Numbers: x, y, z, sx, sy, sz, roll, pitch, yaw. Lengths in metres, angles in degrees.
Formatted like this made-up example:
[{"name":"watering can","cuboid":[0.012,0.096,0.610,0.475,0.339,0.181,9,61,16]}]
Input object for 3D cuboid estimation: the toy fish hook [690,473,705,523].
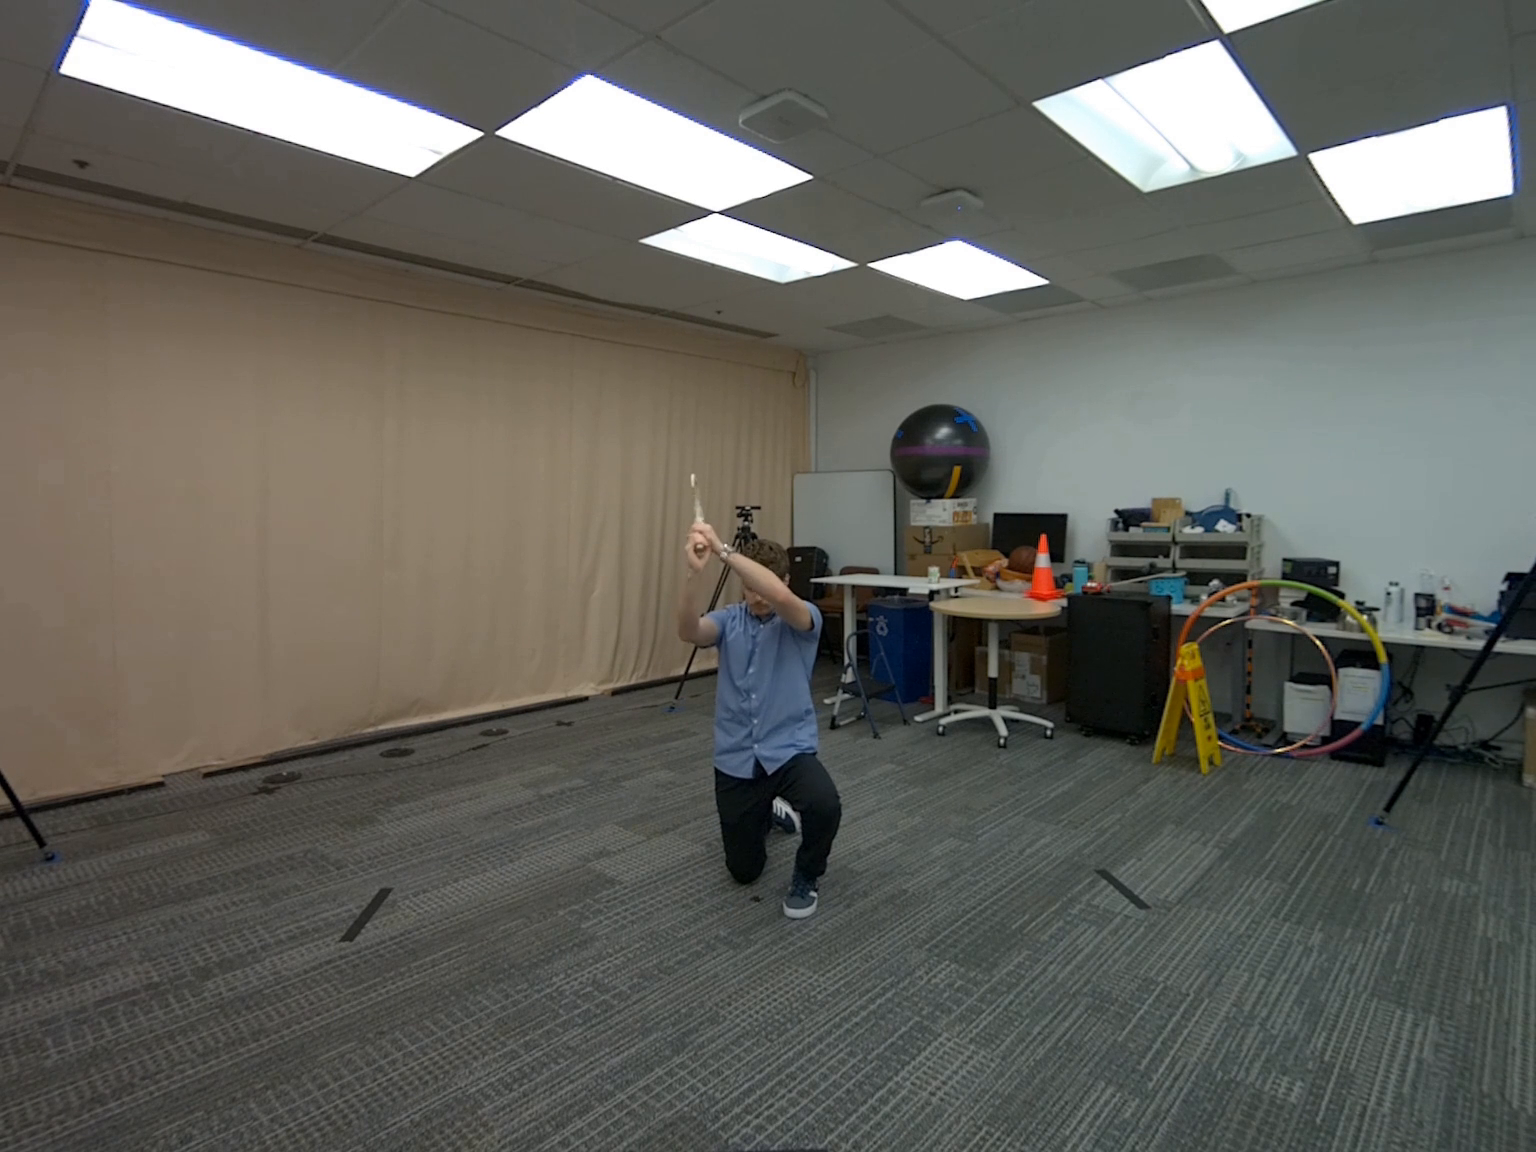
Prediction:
[{"name":"toy fish hook","cuboid":[-0.239,-0.201,2.940,0.048,0.221,0.516,-10,20,-6]}]
